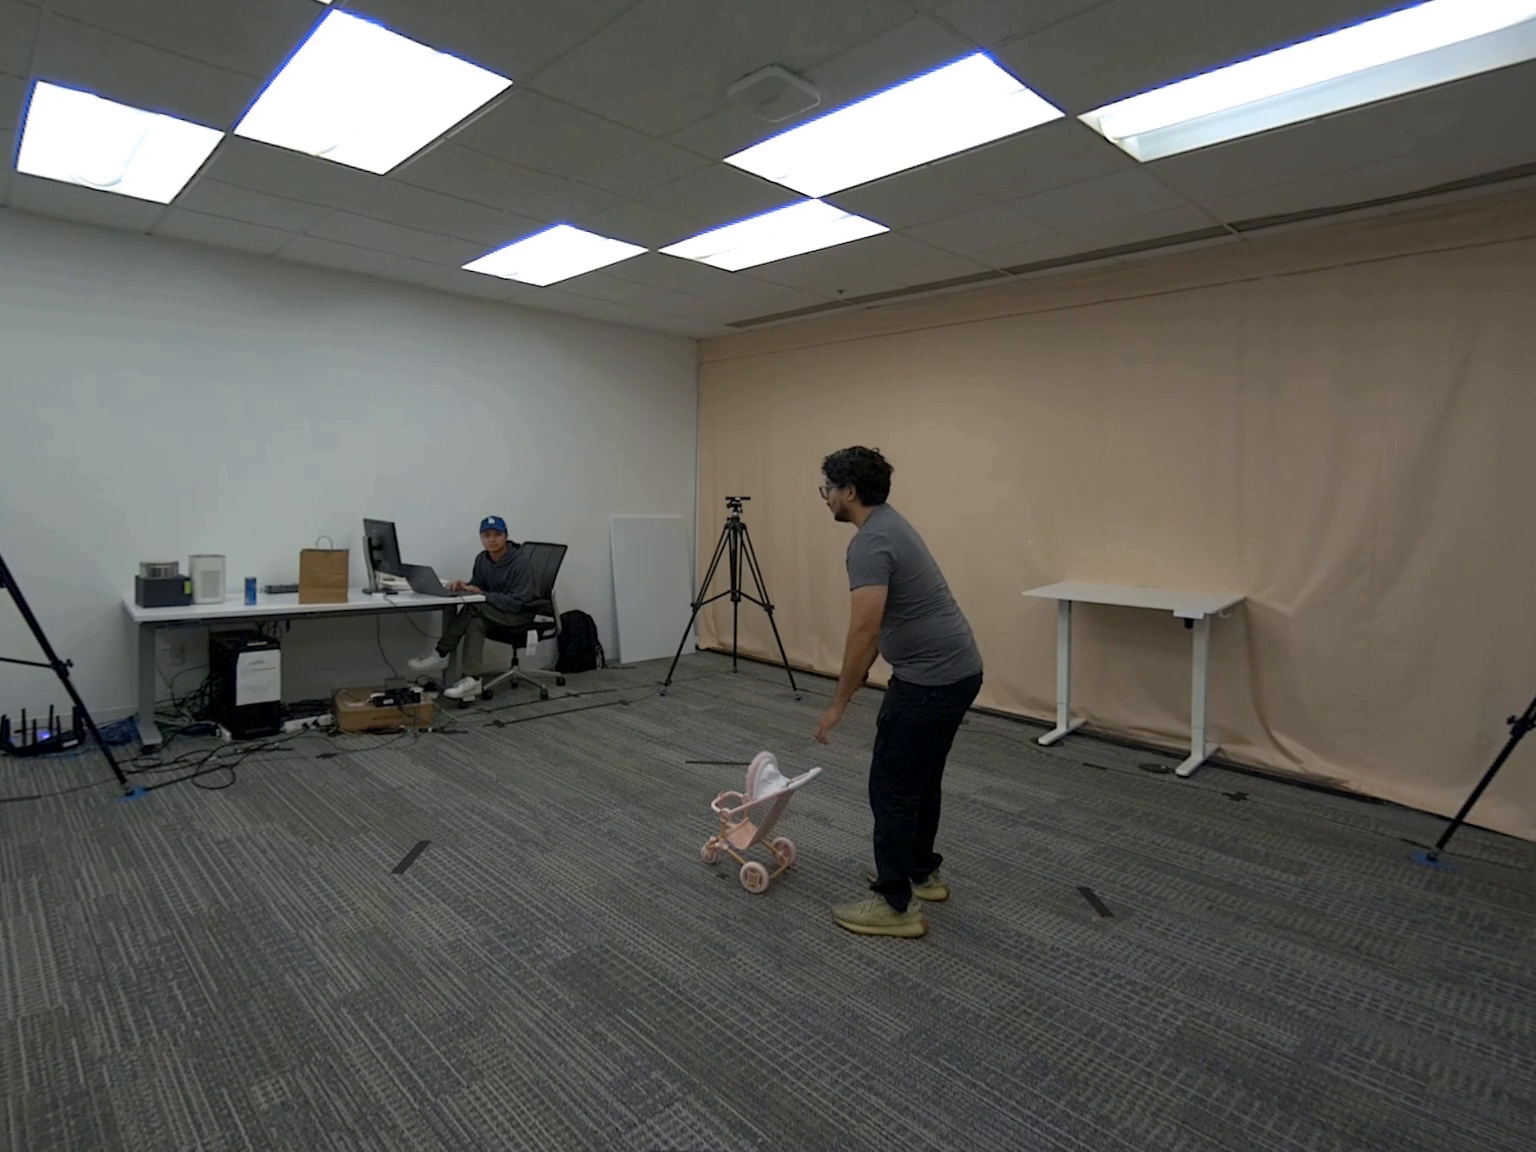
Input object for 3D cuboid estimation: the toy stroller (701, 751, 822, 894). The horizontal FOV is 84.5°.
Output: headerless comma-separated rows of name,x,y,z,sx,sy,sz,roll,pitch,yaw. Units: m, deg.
toy stroller,-0.052,0.884,3.109,0.350,0.532,0.276,24,14,29
